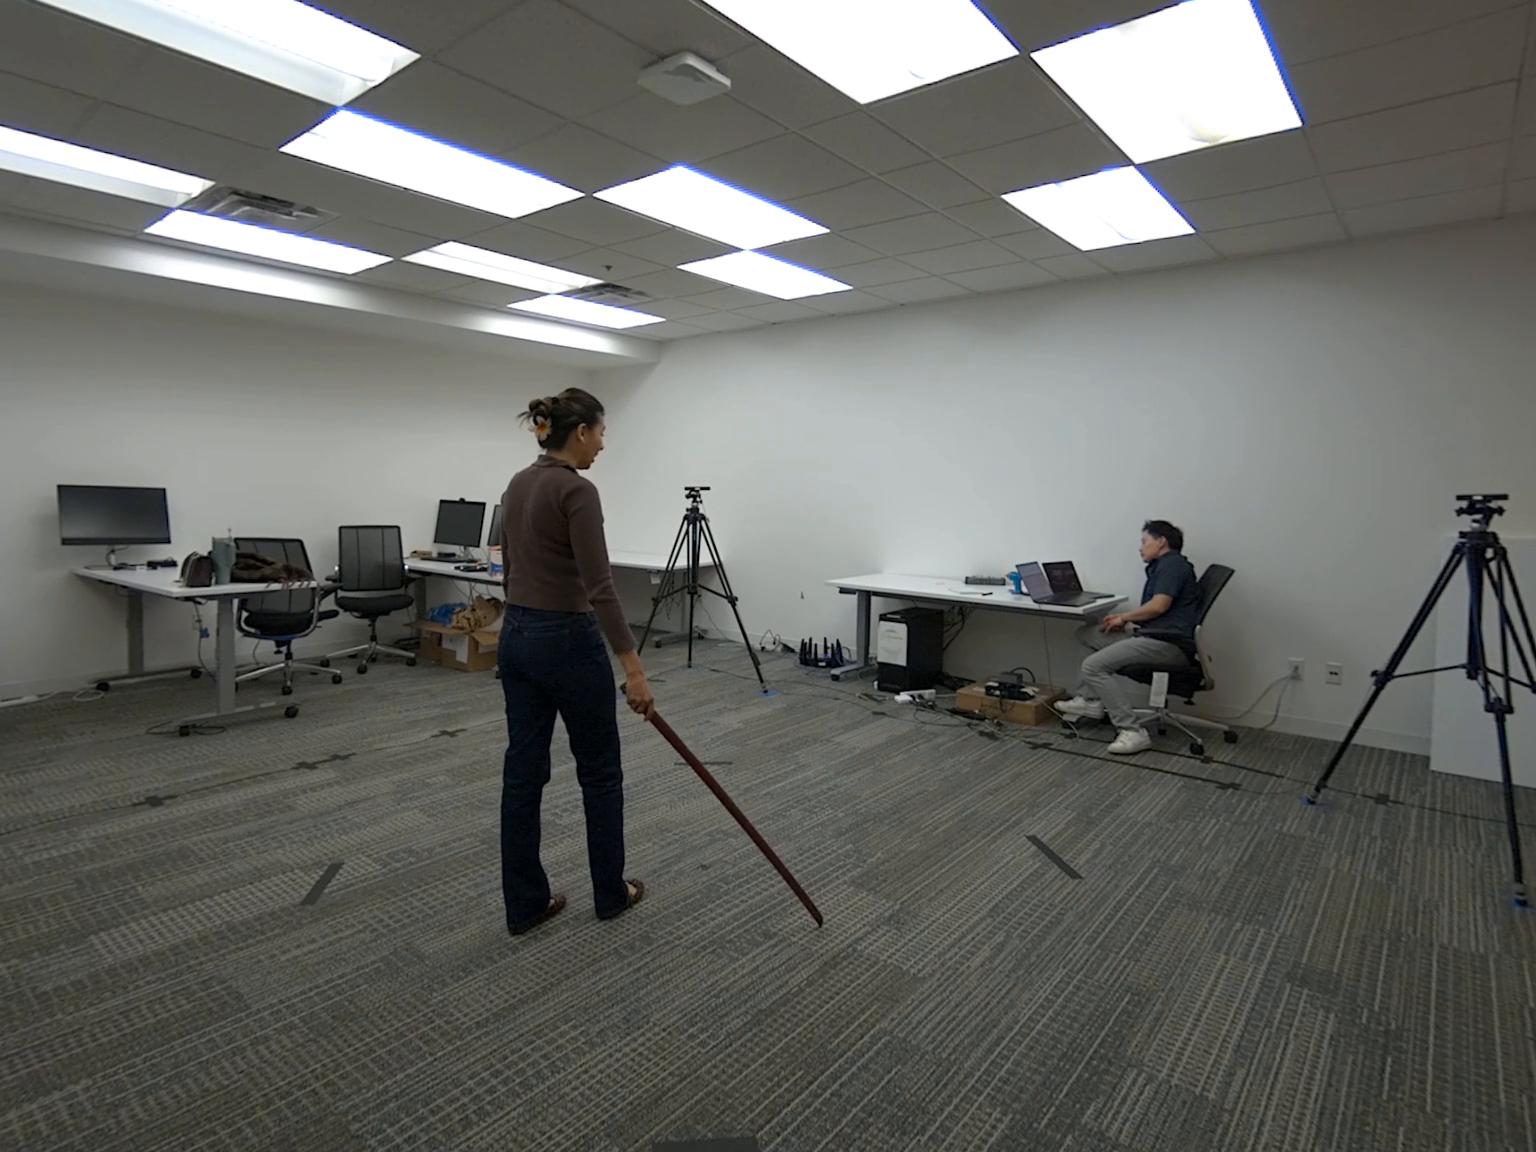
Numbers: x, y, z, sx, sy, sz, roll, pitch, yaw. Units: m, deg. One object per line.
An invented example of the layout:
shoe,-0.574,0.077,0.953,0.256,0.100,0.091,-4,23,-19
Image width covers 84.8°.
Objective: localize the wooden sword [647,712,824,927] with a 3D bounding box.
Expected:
wooden sword,-0.117,0.712,2.596,0.052,1.005,0.024,-23,19,46
